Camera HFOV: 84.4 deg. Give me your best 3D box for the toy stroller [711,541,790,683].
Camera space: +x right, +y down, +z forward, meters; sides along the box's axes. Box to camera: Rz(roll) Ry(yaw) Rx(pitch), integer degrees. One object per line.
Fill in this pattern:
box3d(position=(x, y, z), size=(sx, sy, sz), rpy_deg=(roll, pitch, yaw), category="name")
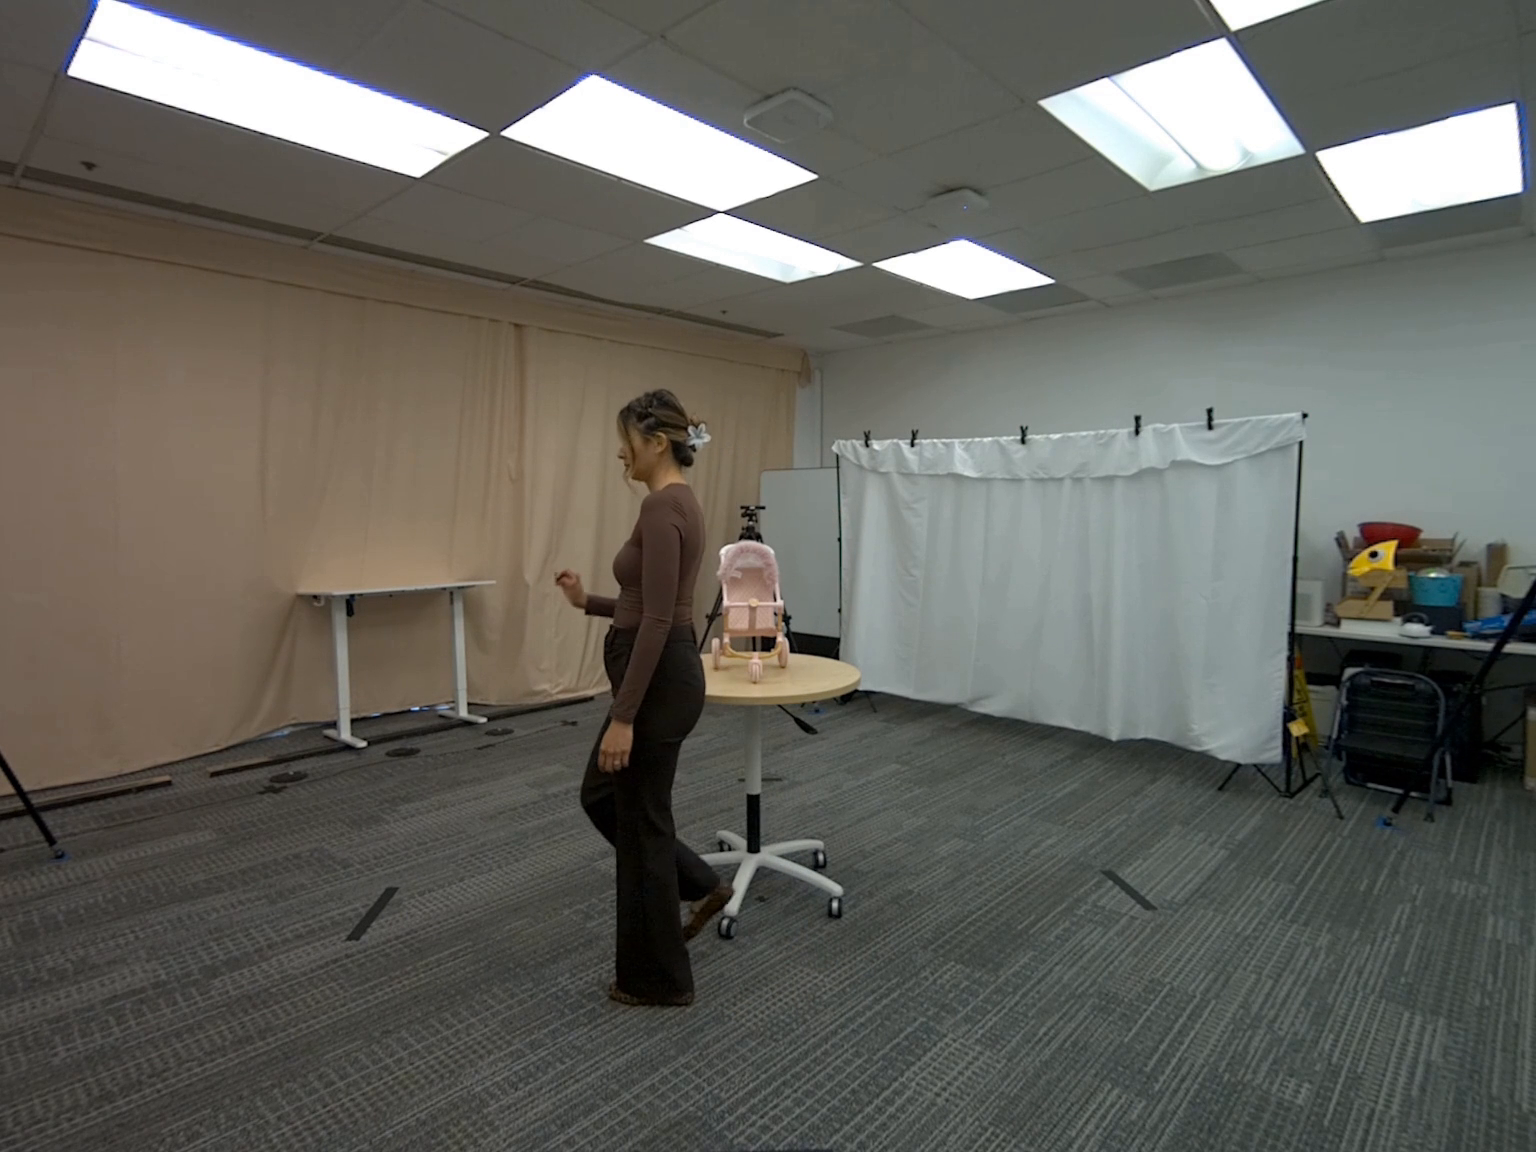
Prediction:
box3d(position=(-0.059, 0.119, 3.006), size=(0.281, 0.538, 0.339), rpy_deg=(0, -10, -1), category="toy stroller")
